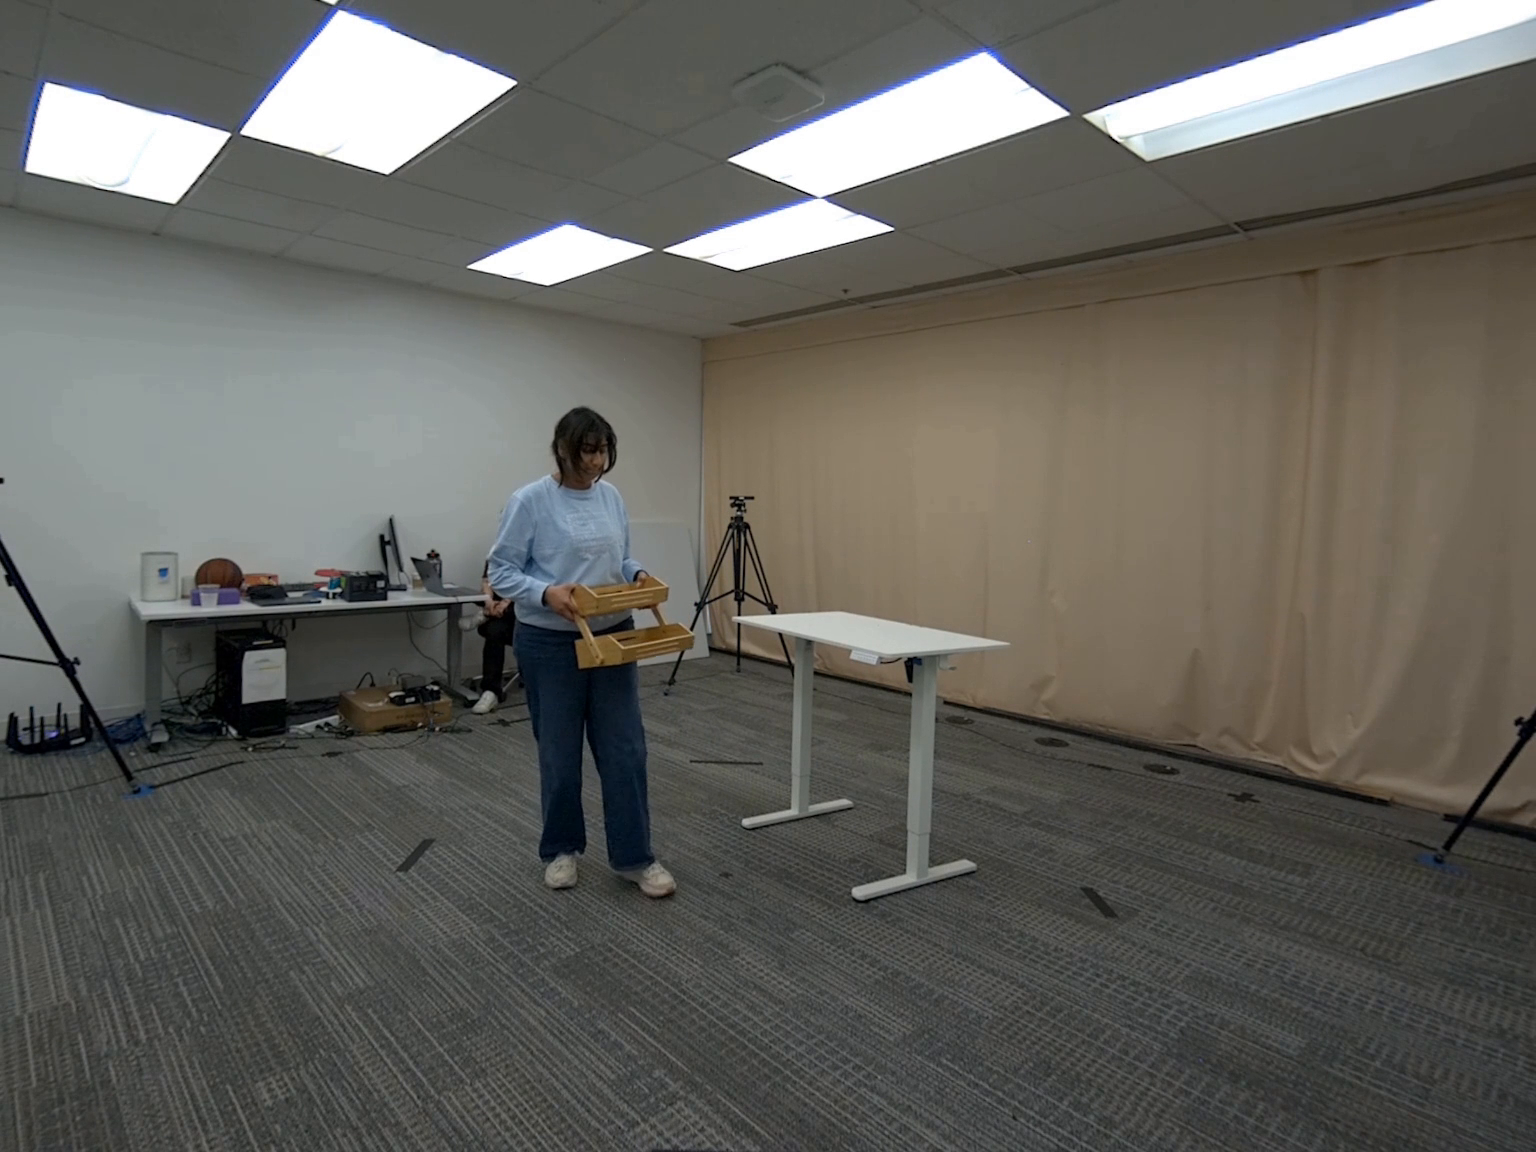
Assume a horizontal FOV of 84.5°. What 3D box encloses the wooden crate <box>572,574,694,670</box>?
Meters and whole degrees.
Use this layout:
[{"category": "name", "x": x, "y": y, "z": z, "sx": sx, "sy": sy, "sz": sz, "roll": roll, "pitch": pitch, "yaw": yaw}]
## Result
[{"category": "wooden crate", "x": -0.476, "y": 0.141, "z": 2.778, "sx": 0.307, "sy": 0.274, "sz": 0.317, "roll": -13, "pitch": -5, "yaw": 44}]
